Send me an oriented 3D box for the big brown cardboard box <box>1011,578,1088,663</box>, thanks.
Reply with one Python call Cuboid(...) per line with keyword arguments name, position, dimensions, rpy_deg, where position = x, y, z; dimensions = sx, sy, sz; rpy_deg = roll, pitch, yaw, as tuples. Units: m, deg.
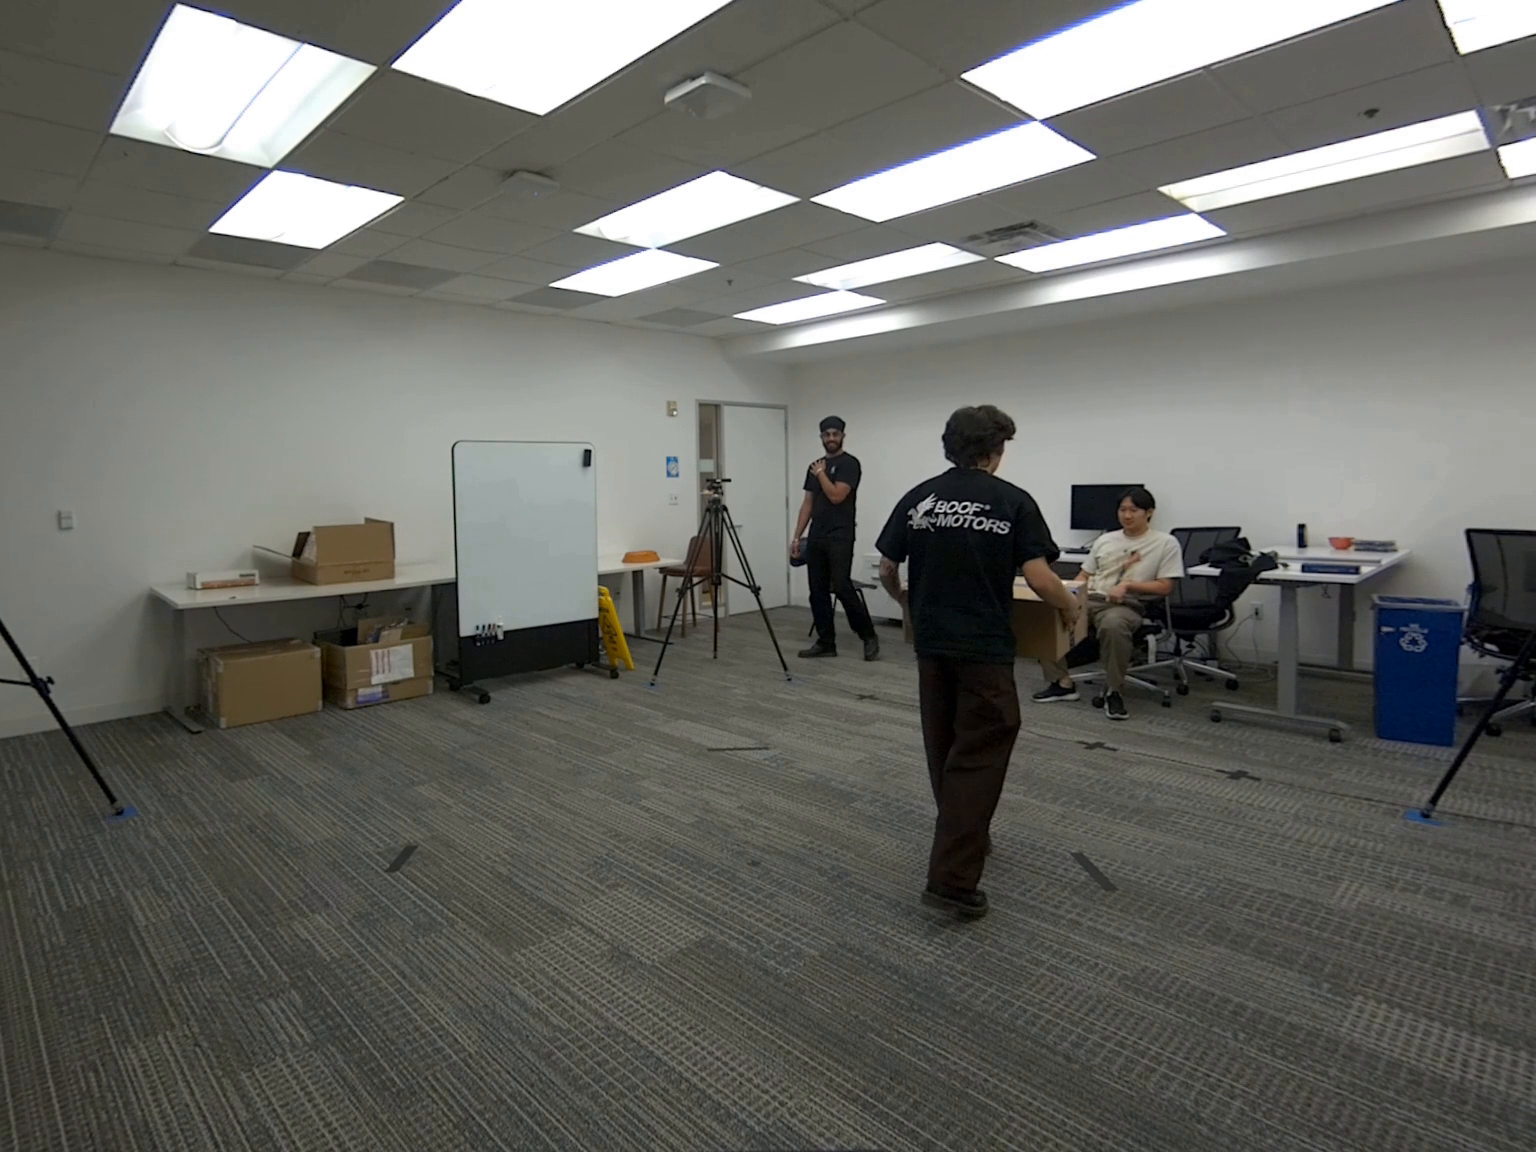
Cuboid(name="big brown cardboard box", position=(0.871, 0.138, 3.238), dimensions=(0.606, 0.231, 0.409), rpy_deg=(3, 10, 34))
